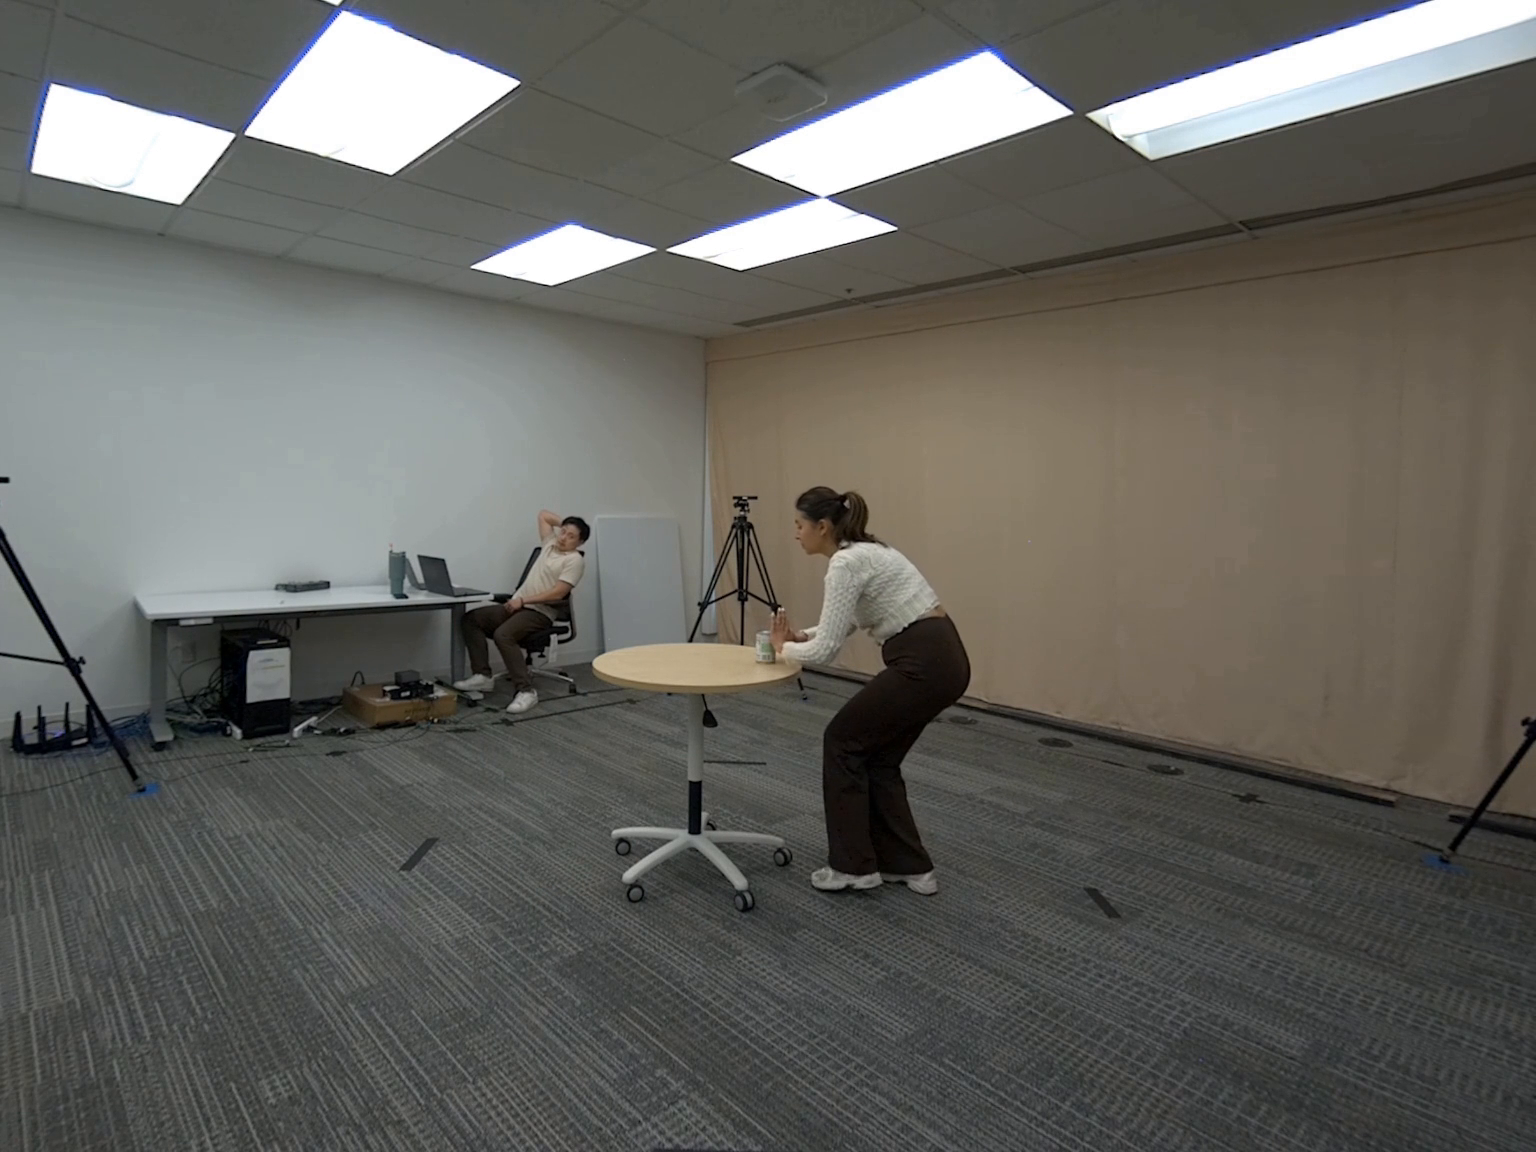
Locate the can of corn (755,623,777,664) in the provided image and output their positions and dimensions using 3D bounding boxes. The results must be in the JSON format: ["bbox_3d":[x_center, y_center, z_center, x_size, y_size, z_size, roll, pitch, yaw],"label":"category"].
[{"bbox_3d":[-0.018,0.264,3.118,0.074,0.111,0.074,3,1,-1],"label":"can of corn"}]
